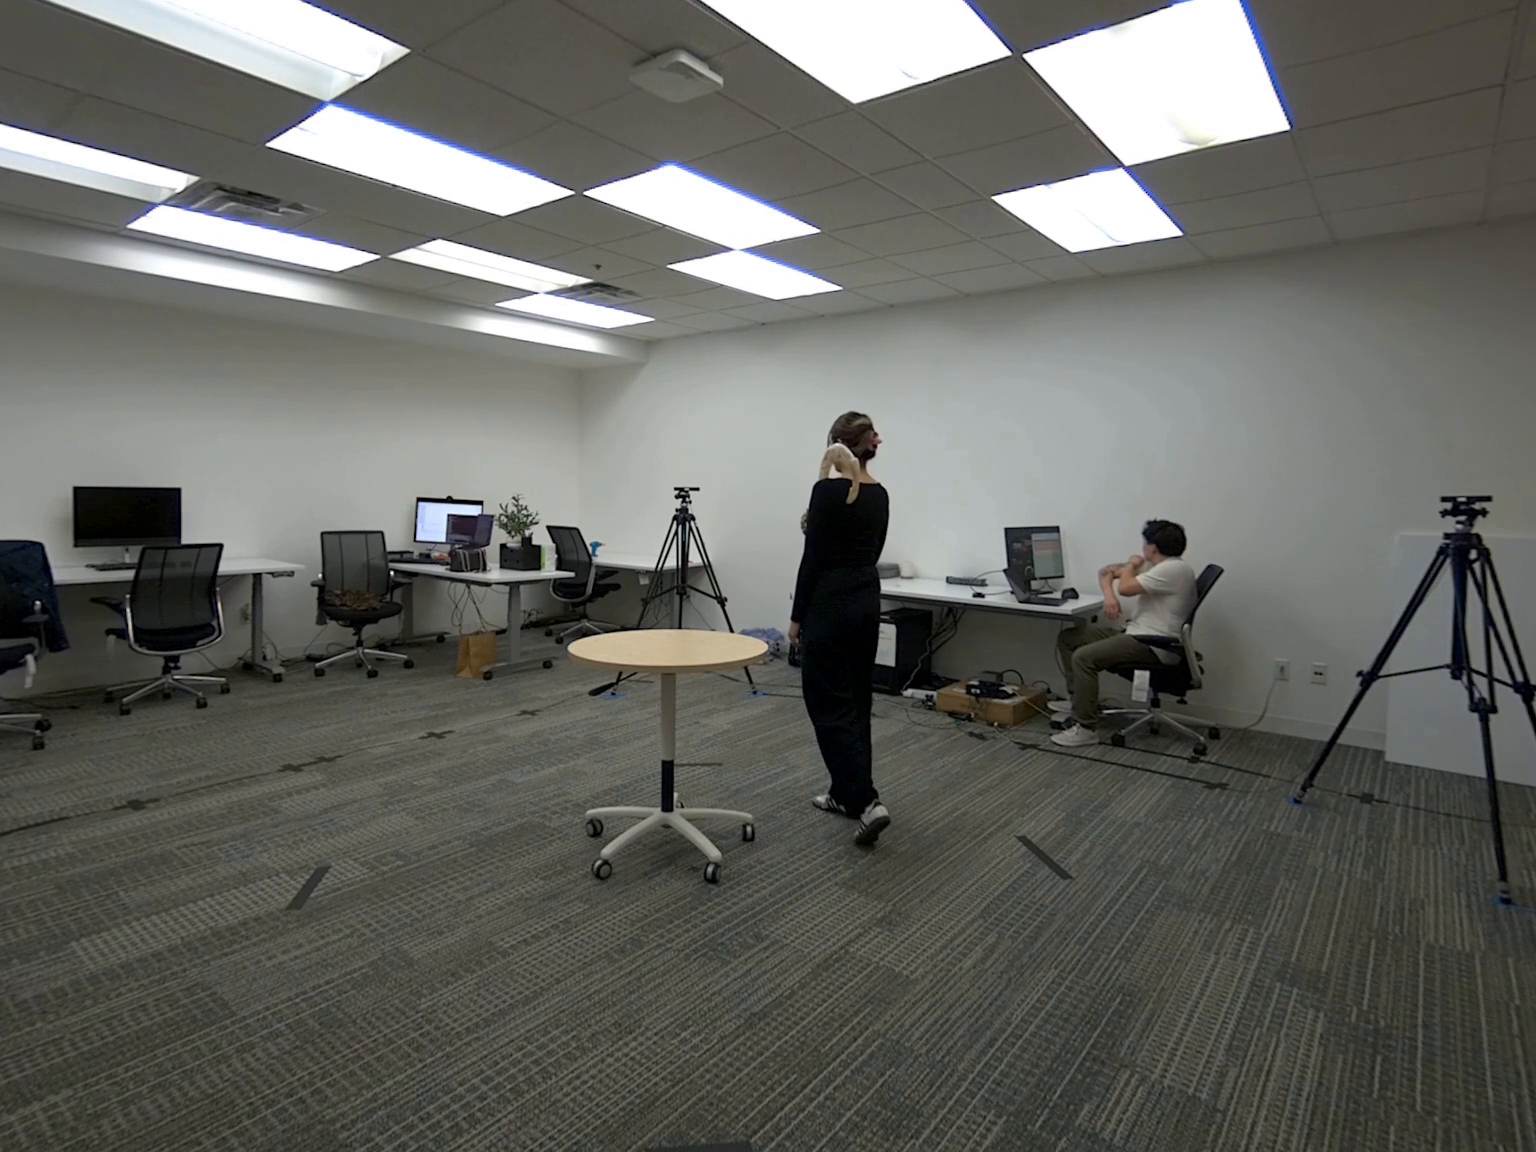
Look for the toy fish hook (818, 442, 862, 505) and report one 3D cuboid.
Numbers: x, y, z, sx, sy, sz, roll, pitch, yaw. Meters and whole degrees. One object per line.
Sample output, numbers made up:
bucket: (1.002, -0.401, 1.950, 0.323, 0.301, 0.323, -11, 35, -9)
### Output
toy fish hook: (0.245, -0.316, 3.482, 0.047, 0.499, 0.233, -10, 51, -31)
